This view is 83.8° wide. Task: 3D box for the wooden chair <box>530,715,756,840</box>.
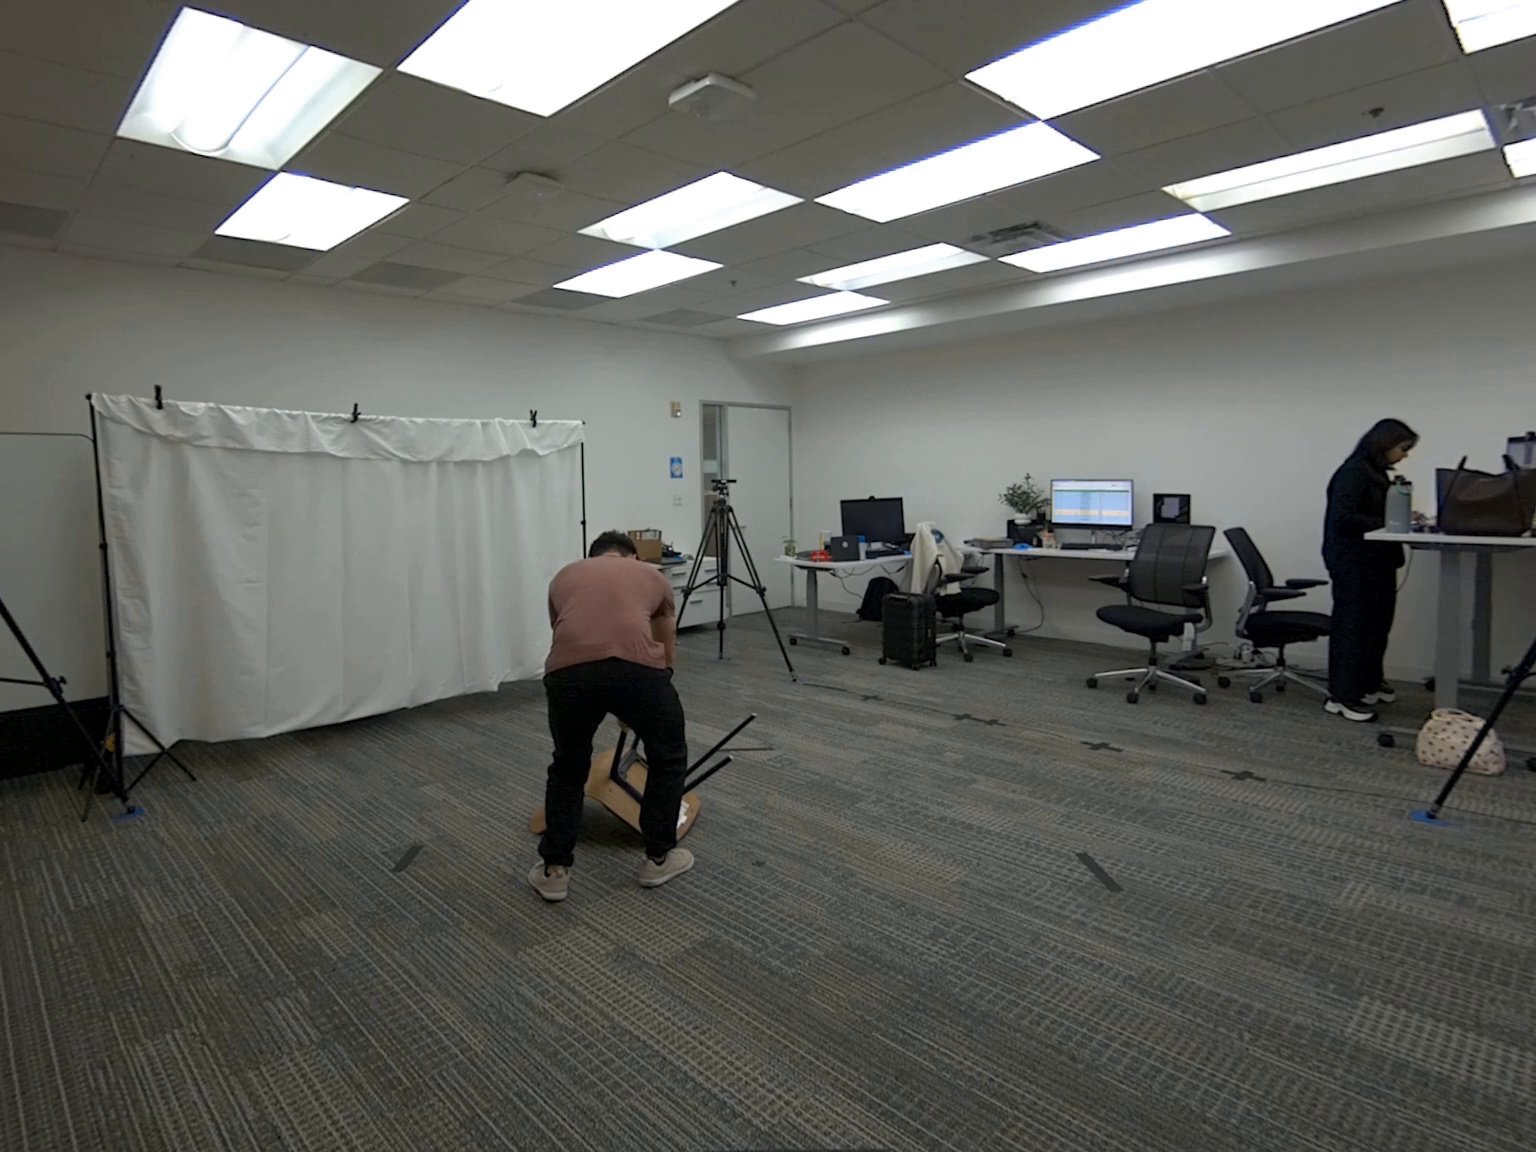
[{"bbox_3d":[-0.501,0.831,3.468,0.526,0.876,0.476,40,15,3],"label":"wooden chair"}]
